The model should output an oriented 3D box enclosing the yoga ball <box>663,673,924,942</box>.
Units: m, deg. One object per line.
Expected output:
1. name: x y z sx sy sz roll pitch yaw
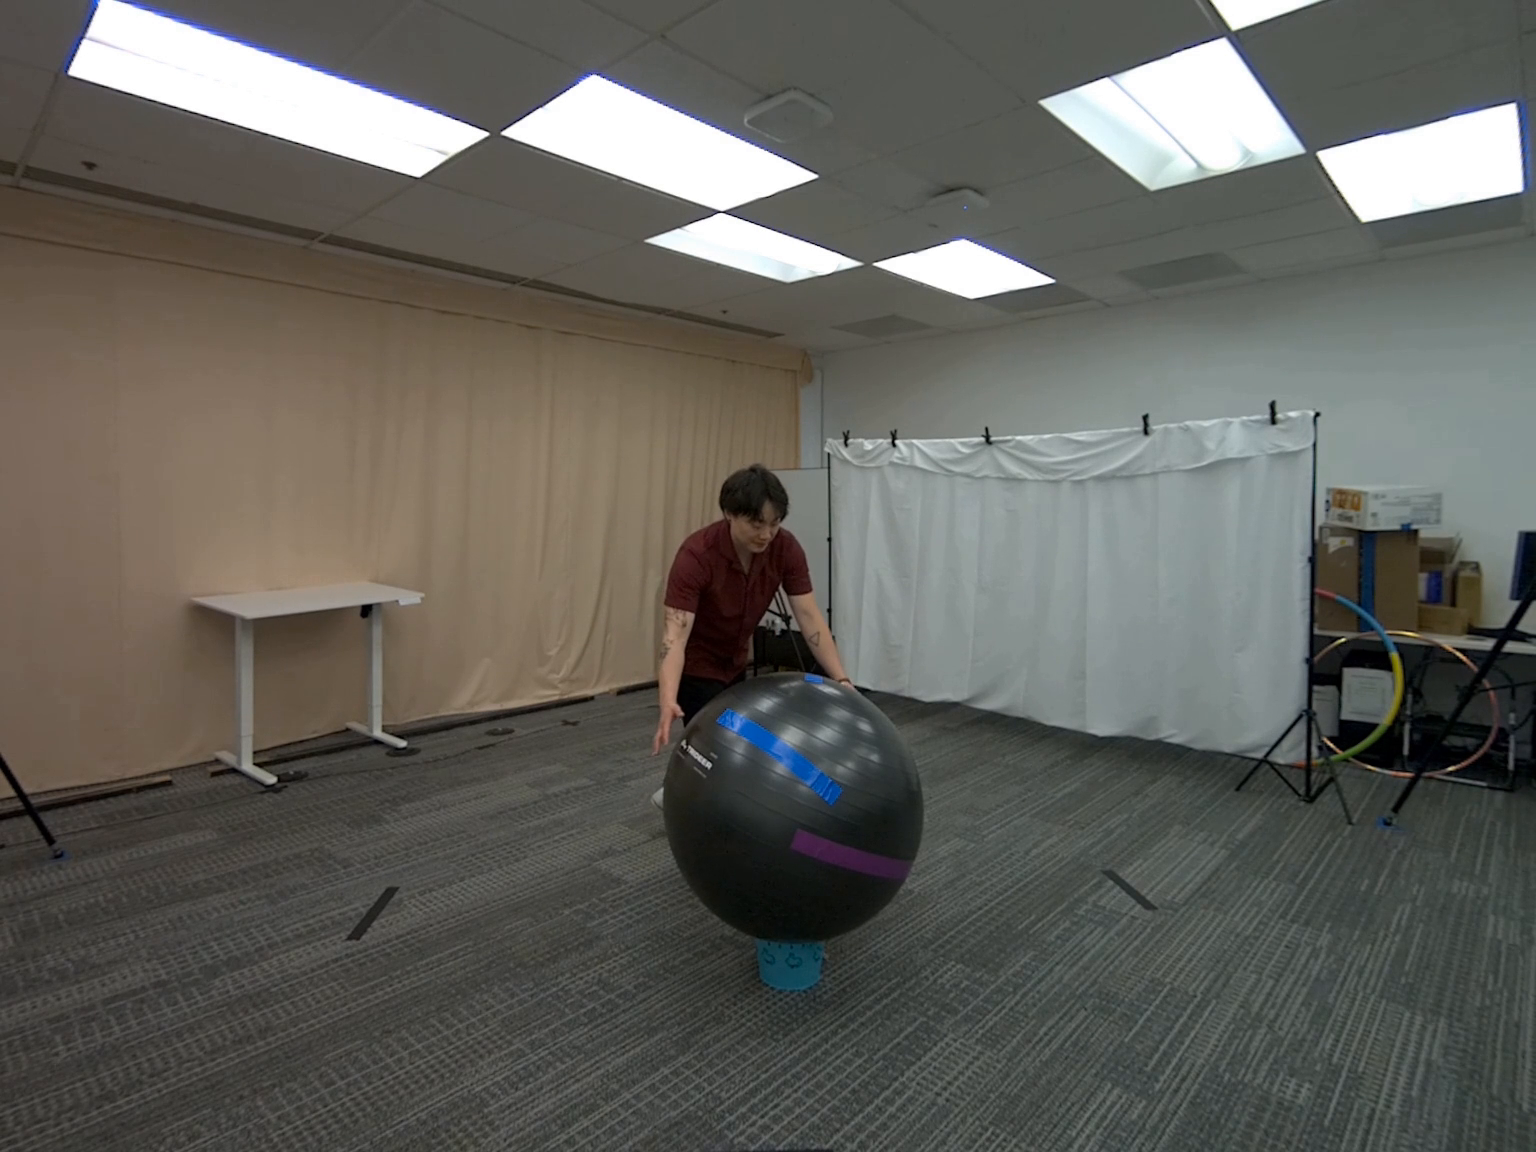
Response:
1. yoga ball: 0.077 0.675 2.487 0.757 0.756 0.760 0 4 -2
